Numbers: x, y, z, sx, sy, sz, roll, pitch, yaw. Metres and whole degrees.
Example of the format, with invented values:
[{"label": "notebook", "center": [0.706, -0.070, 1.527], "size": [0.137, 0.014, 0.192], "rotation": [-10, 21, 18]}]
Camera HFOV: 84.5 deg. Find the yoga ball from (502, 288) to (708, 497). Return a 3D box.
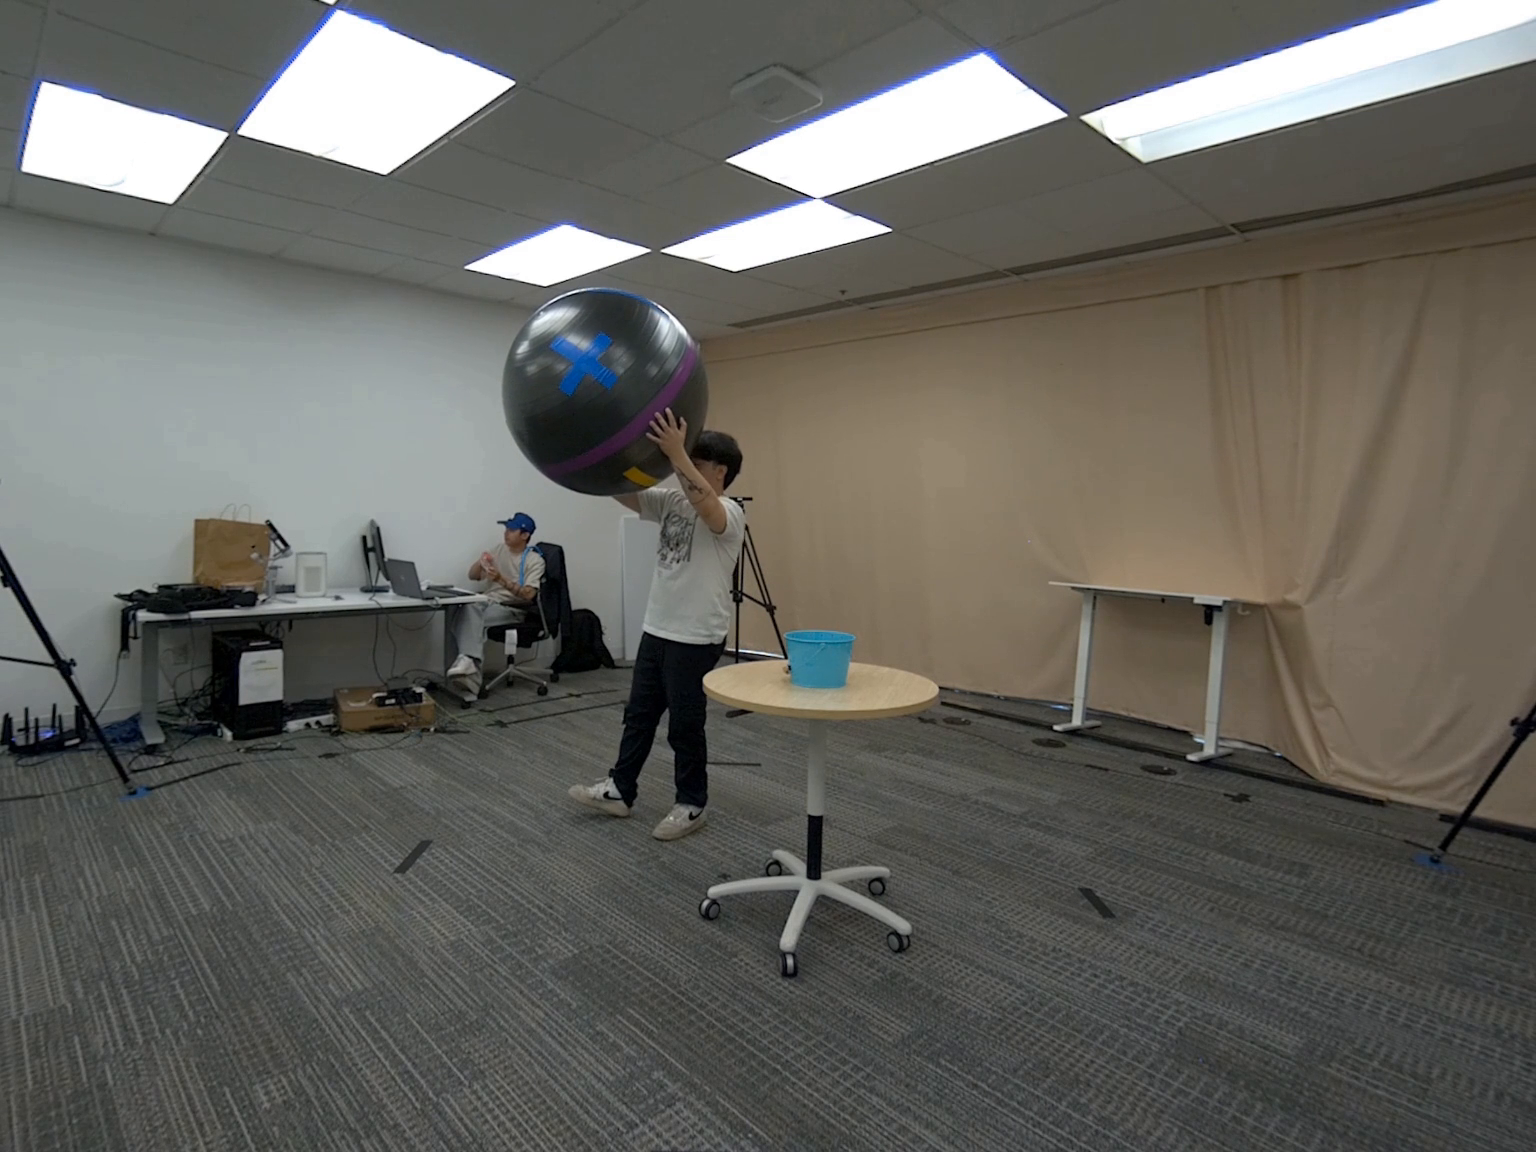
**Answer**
[{"label": "yoga ball", "center": [-0.607, -0.674, 3.130], "size": [0.757, 0.756, 0.760], "rotation": [1, 4, -1]}]
